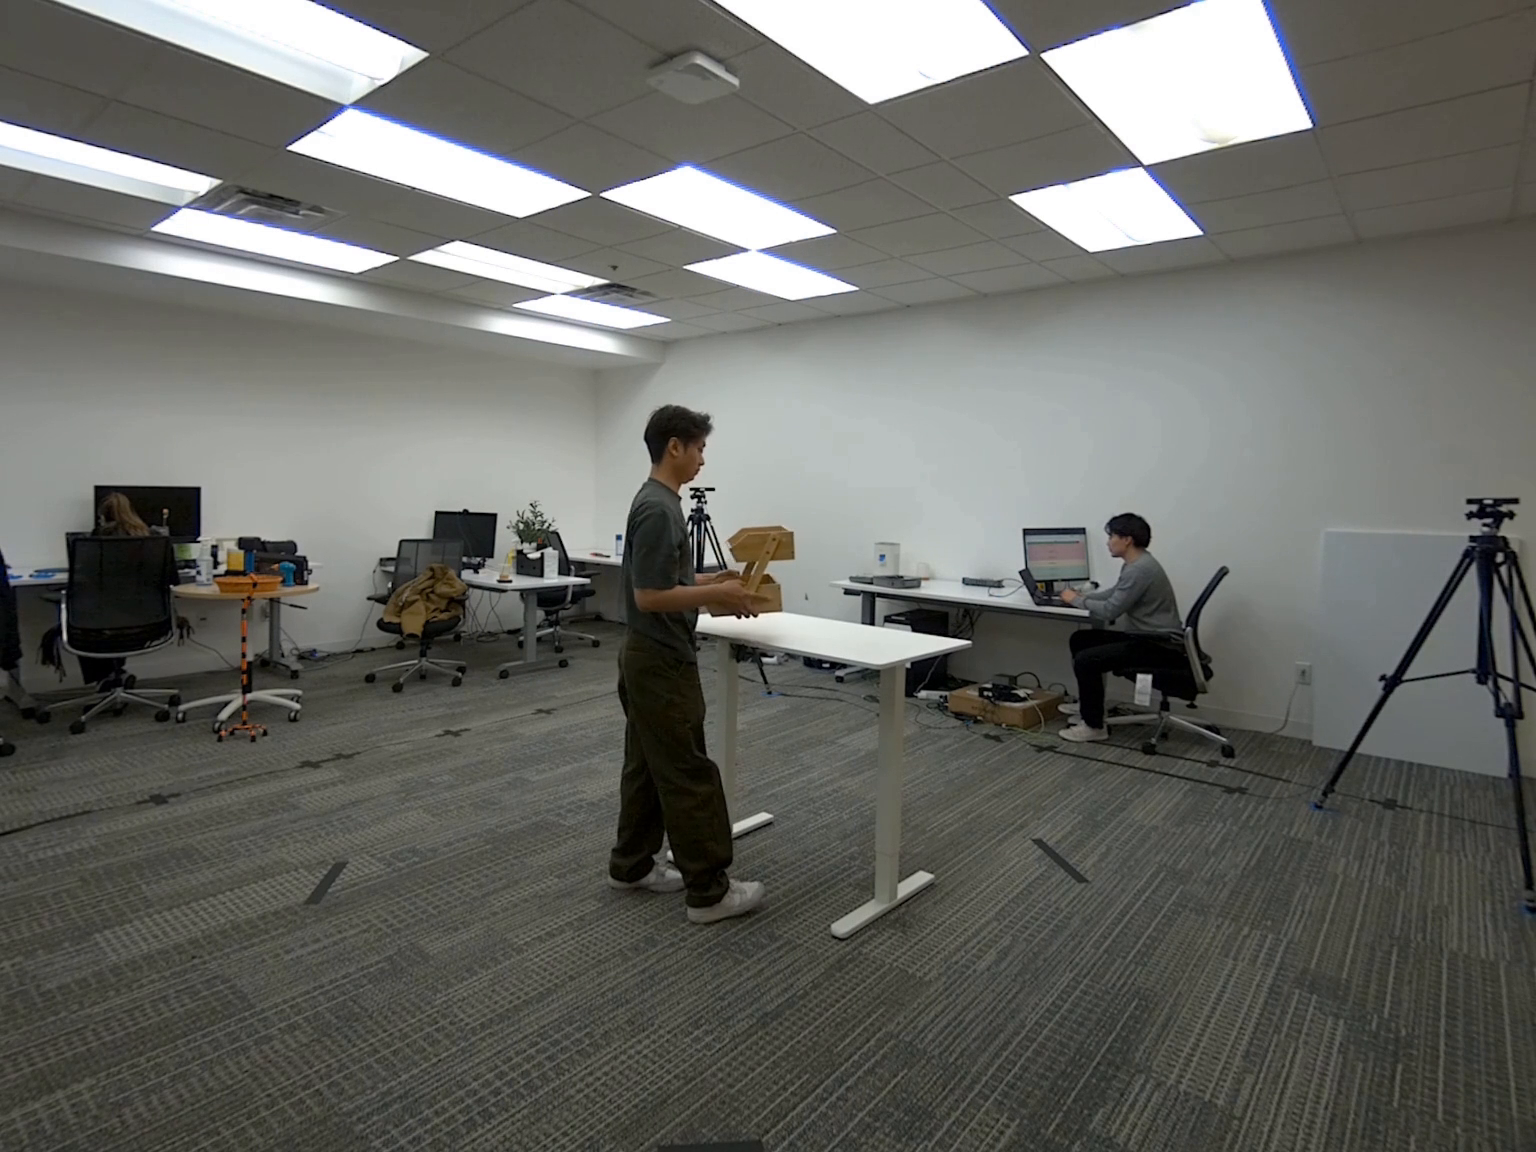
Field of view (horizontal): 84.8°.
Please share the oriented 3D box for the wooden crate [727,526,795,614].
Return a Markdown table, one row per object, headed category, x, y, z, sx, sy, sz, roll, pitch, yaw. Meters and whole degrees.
| category | x | y | z | sx | sy | sz | roll | pitch | yaw |
| --- | --- | --- | --- | --- | --- | --- | --- | --- | --- |
| wooden crate | -0.087 | -0.026 | 2.876 | 0.301 | 0.272 | 0.328 | -4 | 7 | -4 |
